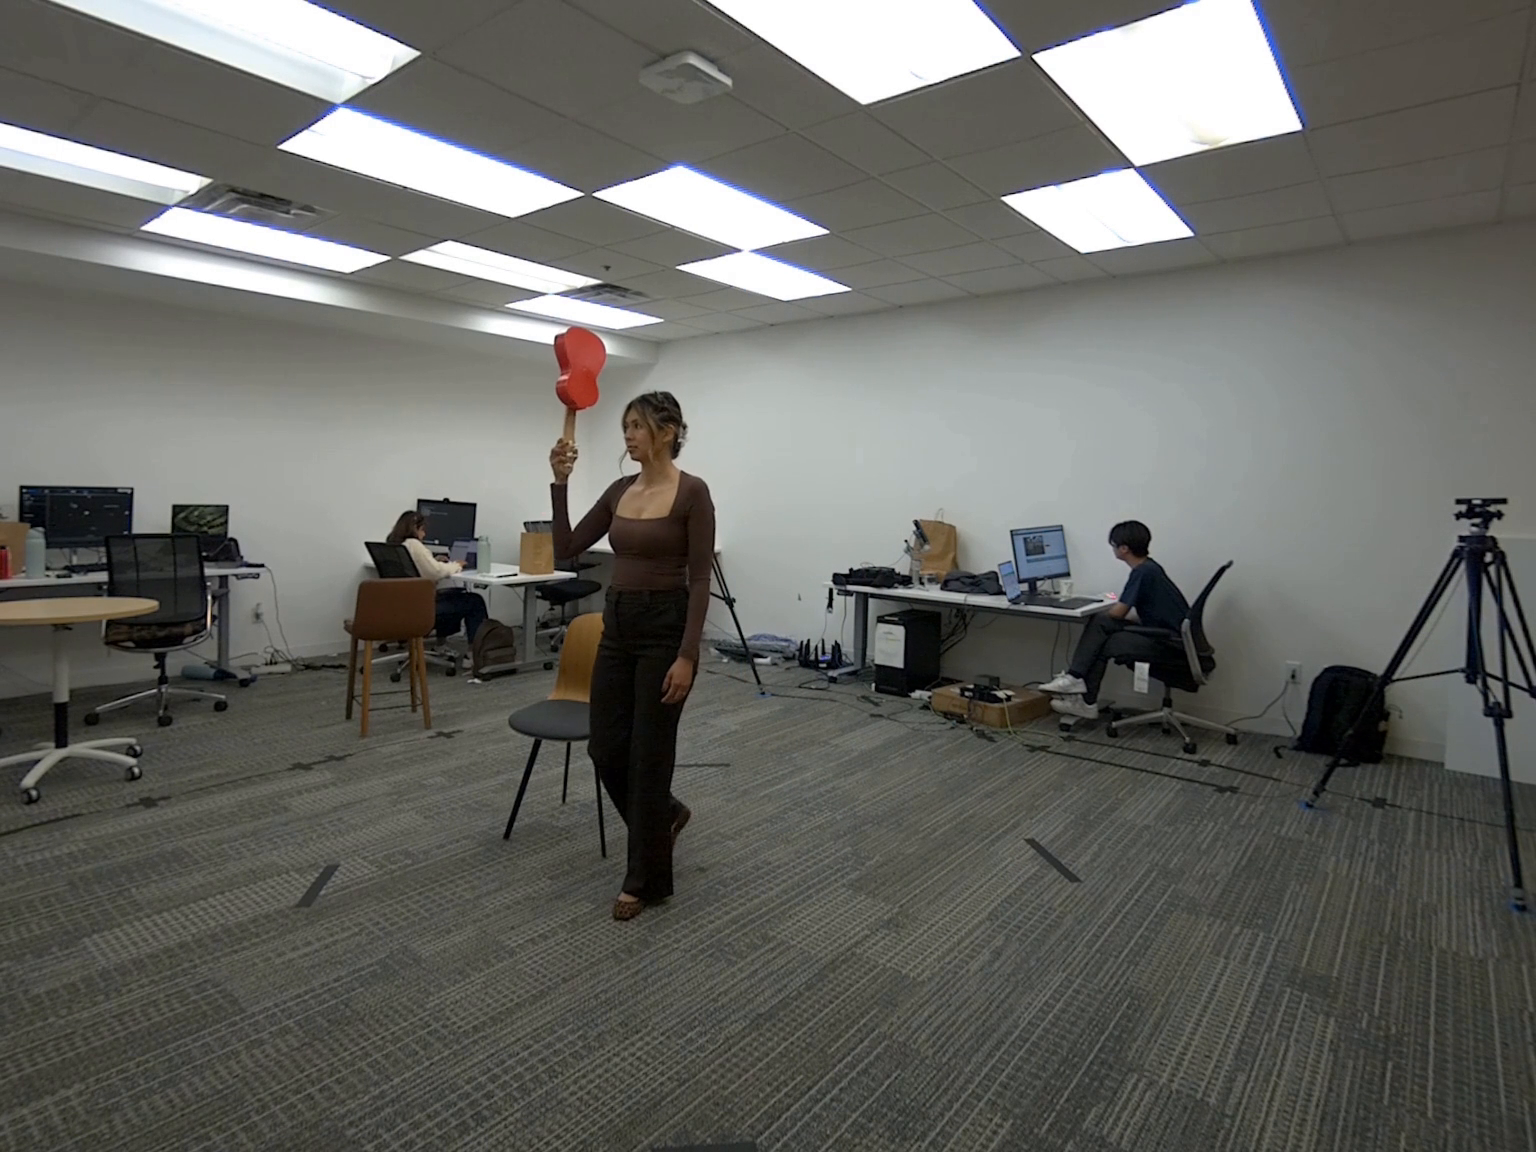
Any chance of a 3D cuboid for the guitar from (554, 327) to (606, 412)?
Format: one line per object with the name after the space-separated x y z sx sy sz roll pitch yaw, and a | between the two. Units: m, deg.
-0.657 -0.597 2.916 0.073 0.498 0.187 -2 0 36 | guitar
